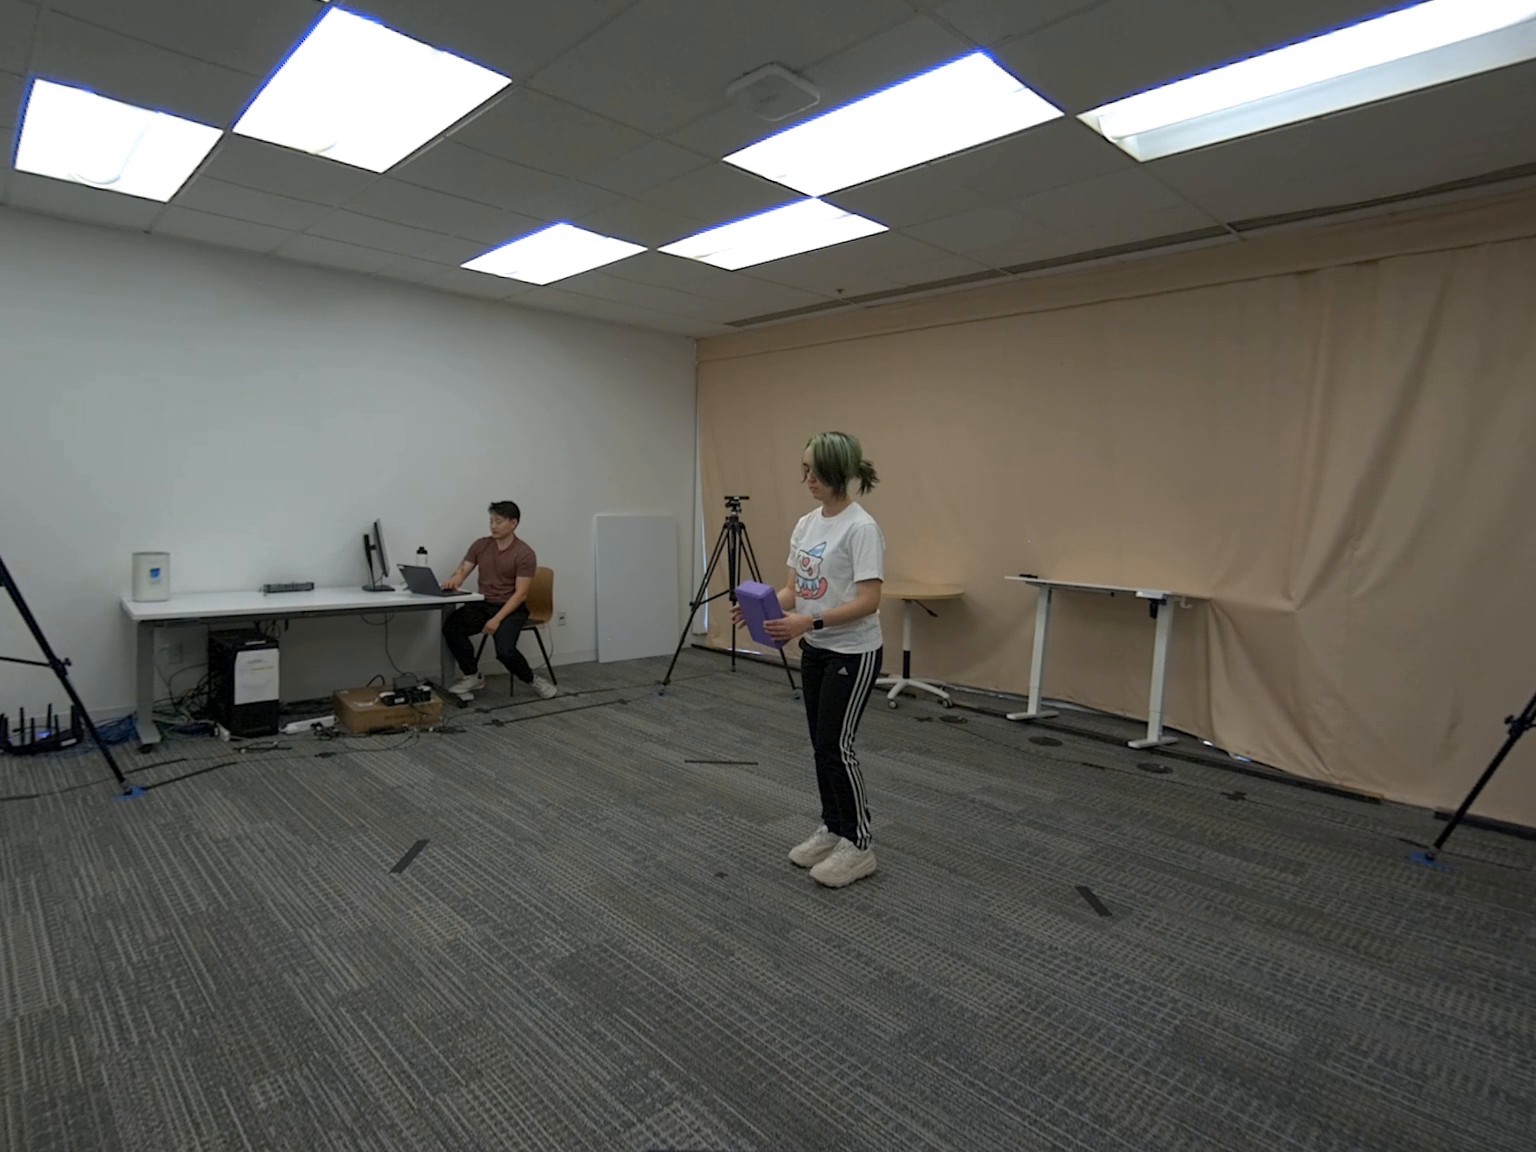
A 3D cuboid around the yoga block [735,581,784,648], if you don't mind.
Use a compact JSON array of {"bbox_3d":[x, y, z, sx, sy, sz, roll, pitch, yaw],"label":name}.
[{"bbox_3d":[-0.014,0.140,2.969,0.076,0.224,0.153,-35,28,-32],"label":"yoga block"}]
